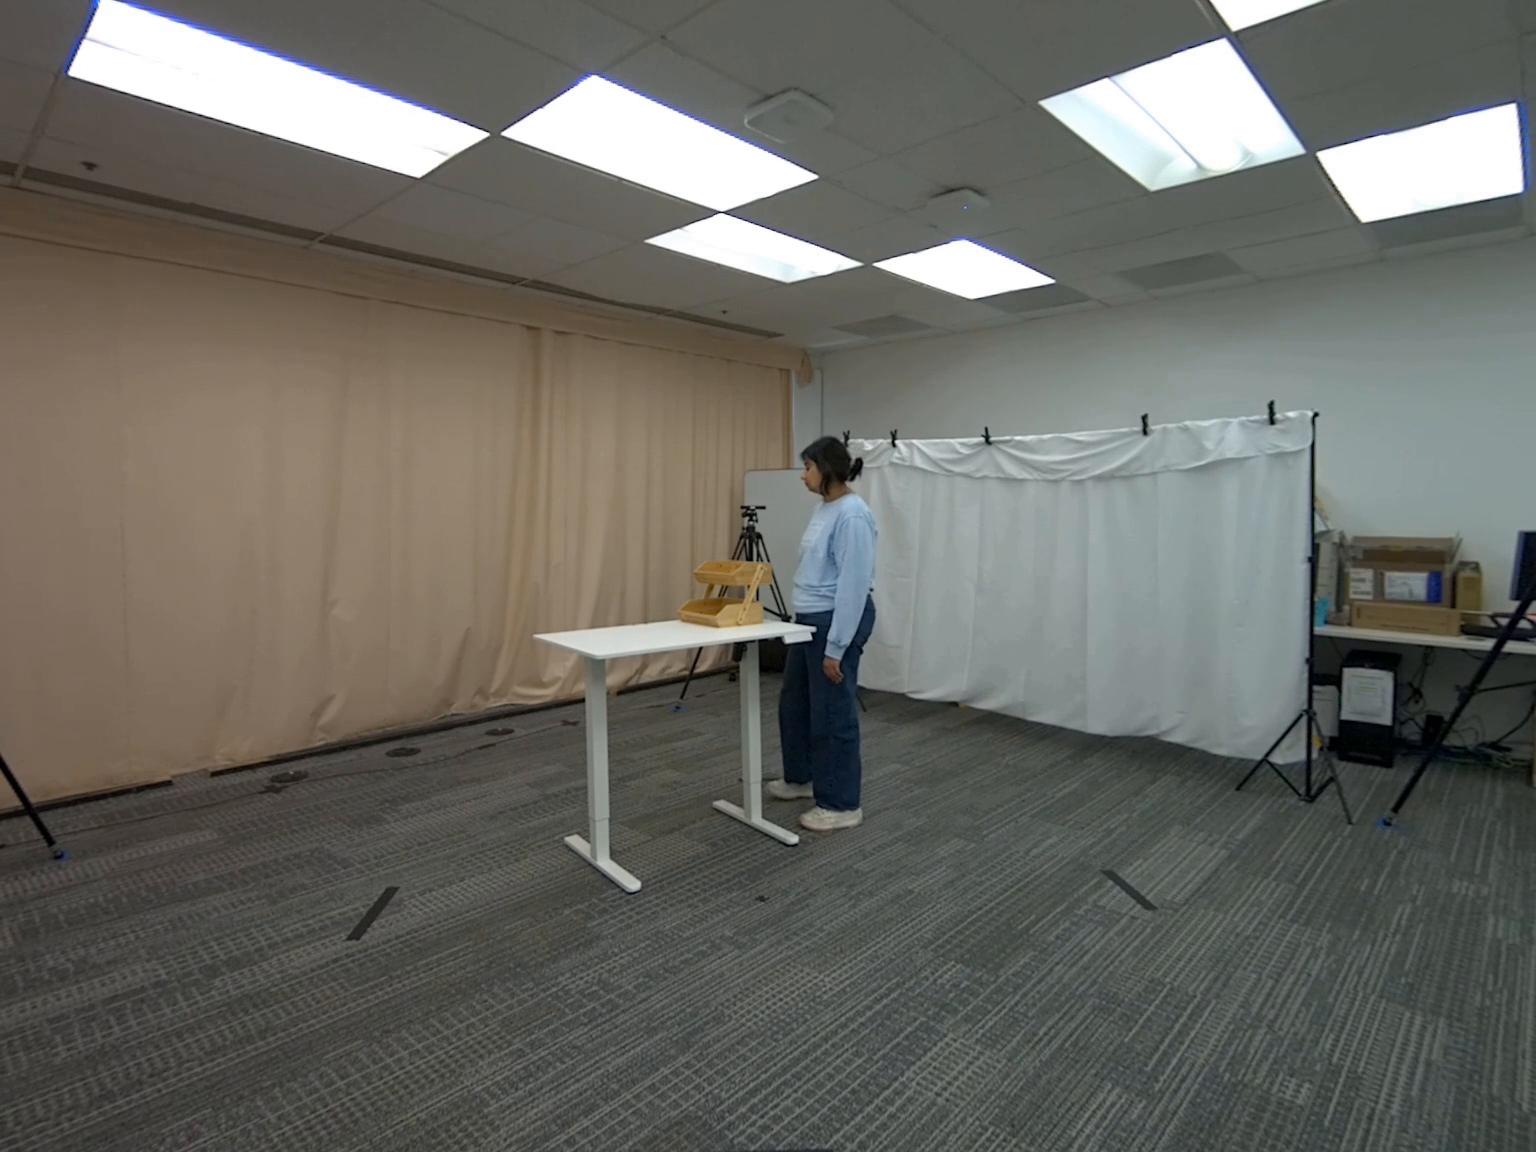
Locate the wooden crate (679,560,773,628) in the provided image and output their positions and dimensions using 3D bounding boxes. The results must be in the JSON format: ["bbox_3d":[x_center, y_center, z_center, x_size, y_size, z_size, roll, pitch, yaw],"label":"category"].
[{"bbox_3d":[-0.192,0.071,3.709,0.293,0.273,0.335,-2,4,-37],"label":"wooden crate"}]
